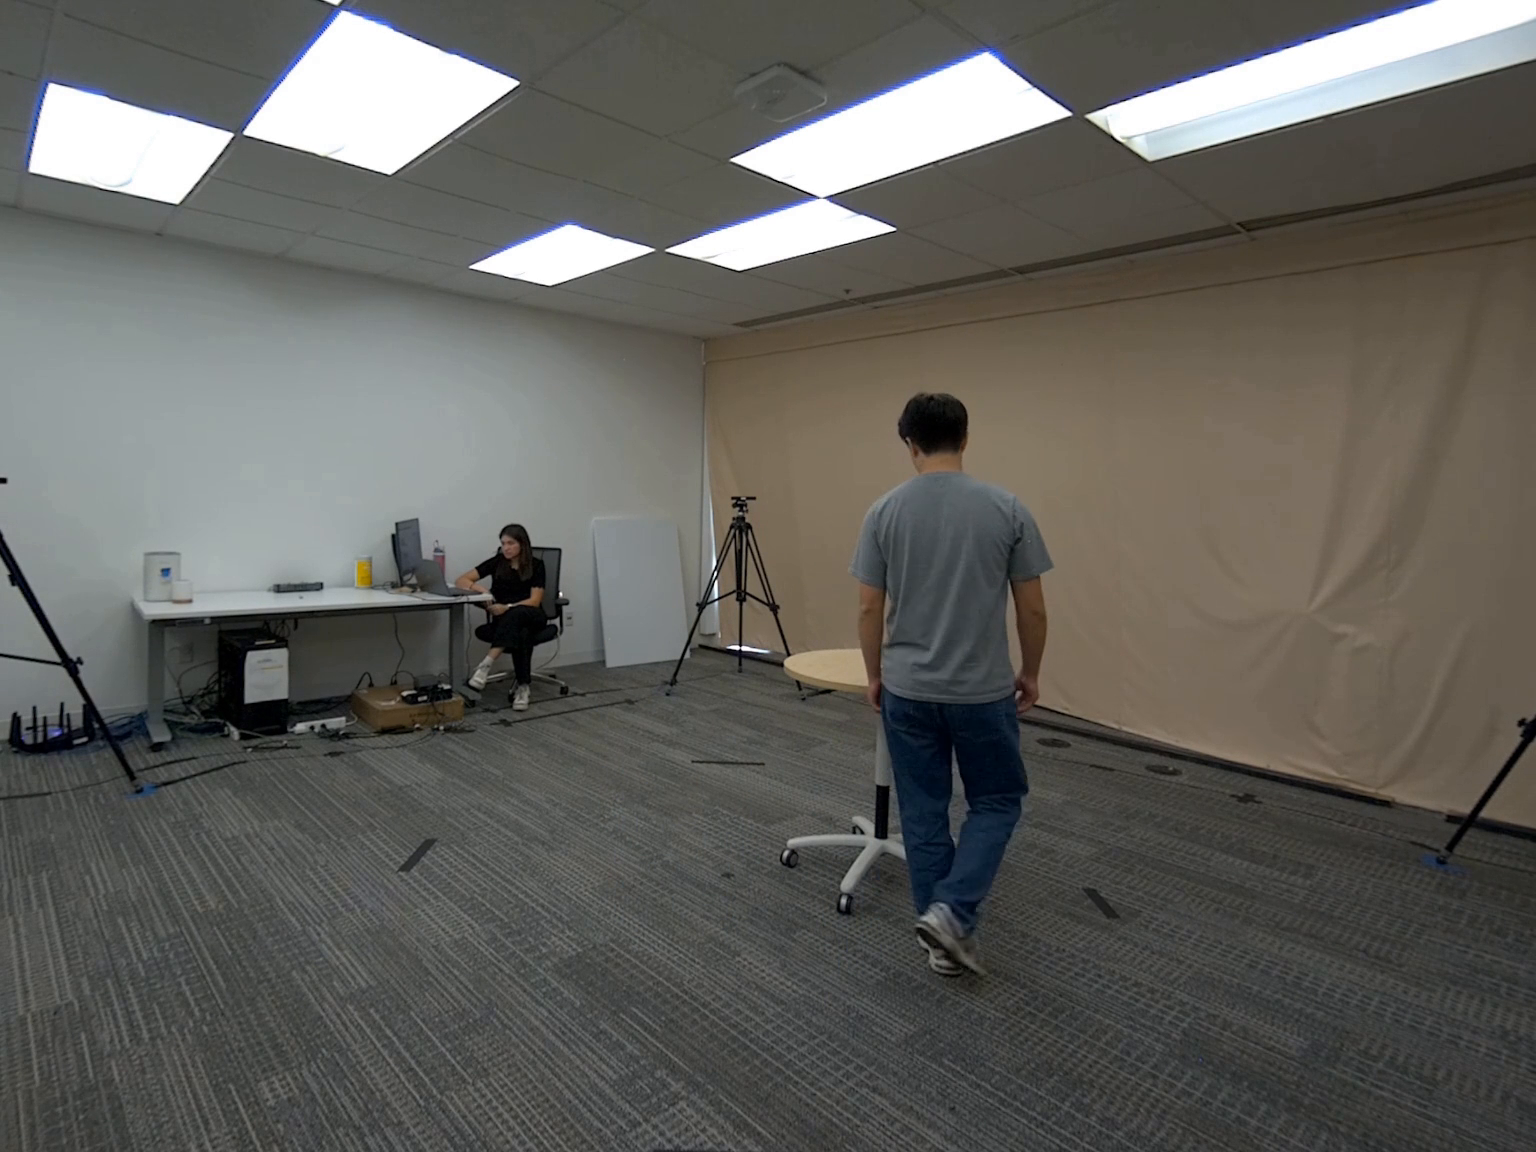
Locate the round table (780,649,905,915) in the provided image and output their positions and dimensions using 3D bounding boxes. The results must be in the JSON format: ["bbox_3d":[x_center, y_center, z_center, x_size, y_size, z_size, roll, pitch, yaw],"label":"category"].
[{"bbox_3d":[0.420,0.730,3.128,0.763,0.792,0.766,2,4,-1],"label":"round table"}]
